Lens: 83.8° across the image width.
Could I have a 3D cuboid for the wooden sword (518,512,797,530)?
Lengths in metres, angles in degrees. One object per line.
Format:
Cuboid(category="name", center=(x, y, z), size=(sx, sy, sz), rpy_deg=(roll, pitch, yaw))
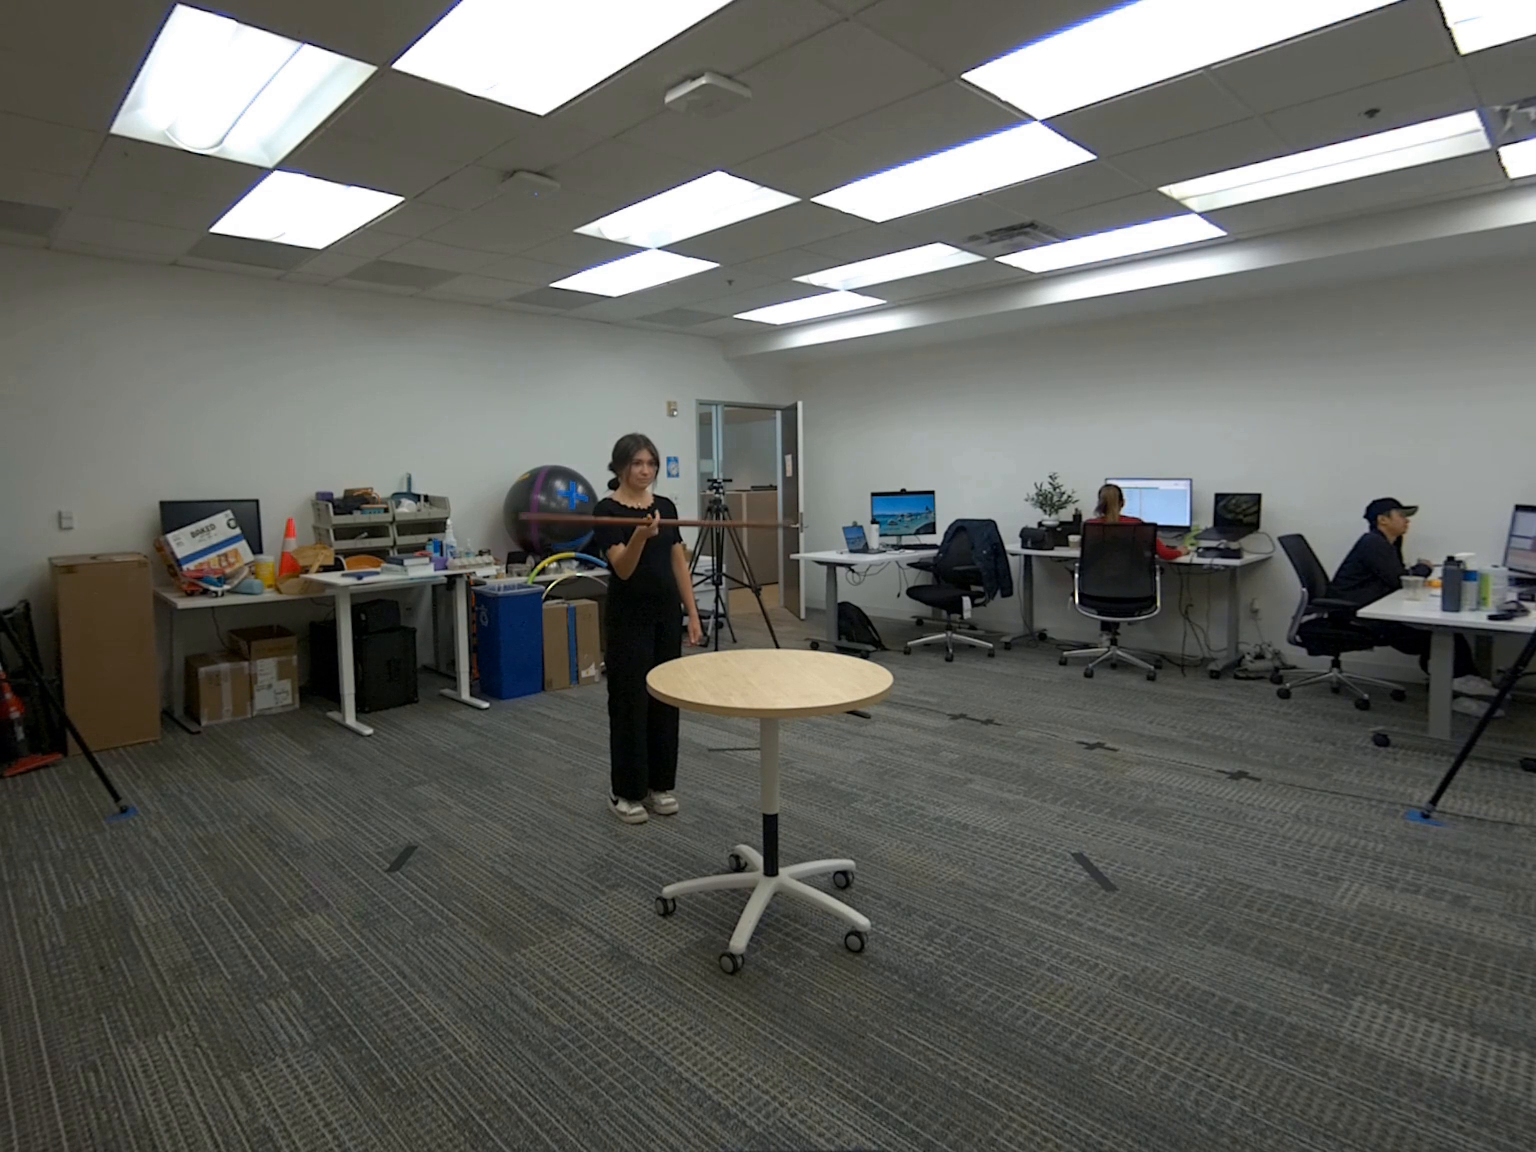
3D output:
Cuboid(category="wooden sword", center=(-0.421, -0.197, 3.158), size=(1.011, 0.053, 0.023), rpy_deg=(1, -42, -14))
